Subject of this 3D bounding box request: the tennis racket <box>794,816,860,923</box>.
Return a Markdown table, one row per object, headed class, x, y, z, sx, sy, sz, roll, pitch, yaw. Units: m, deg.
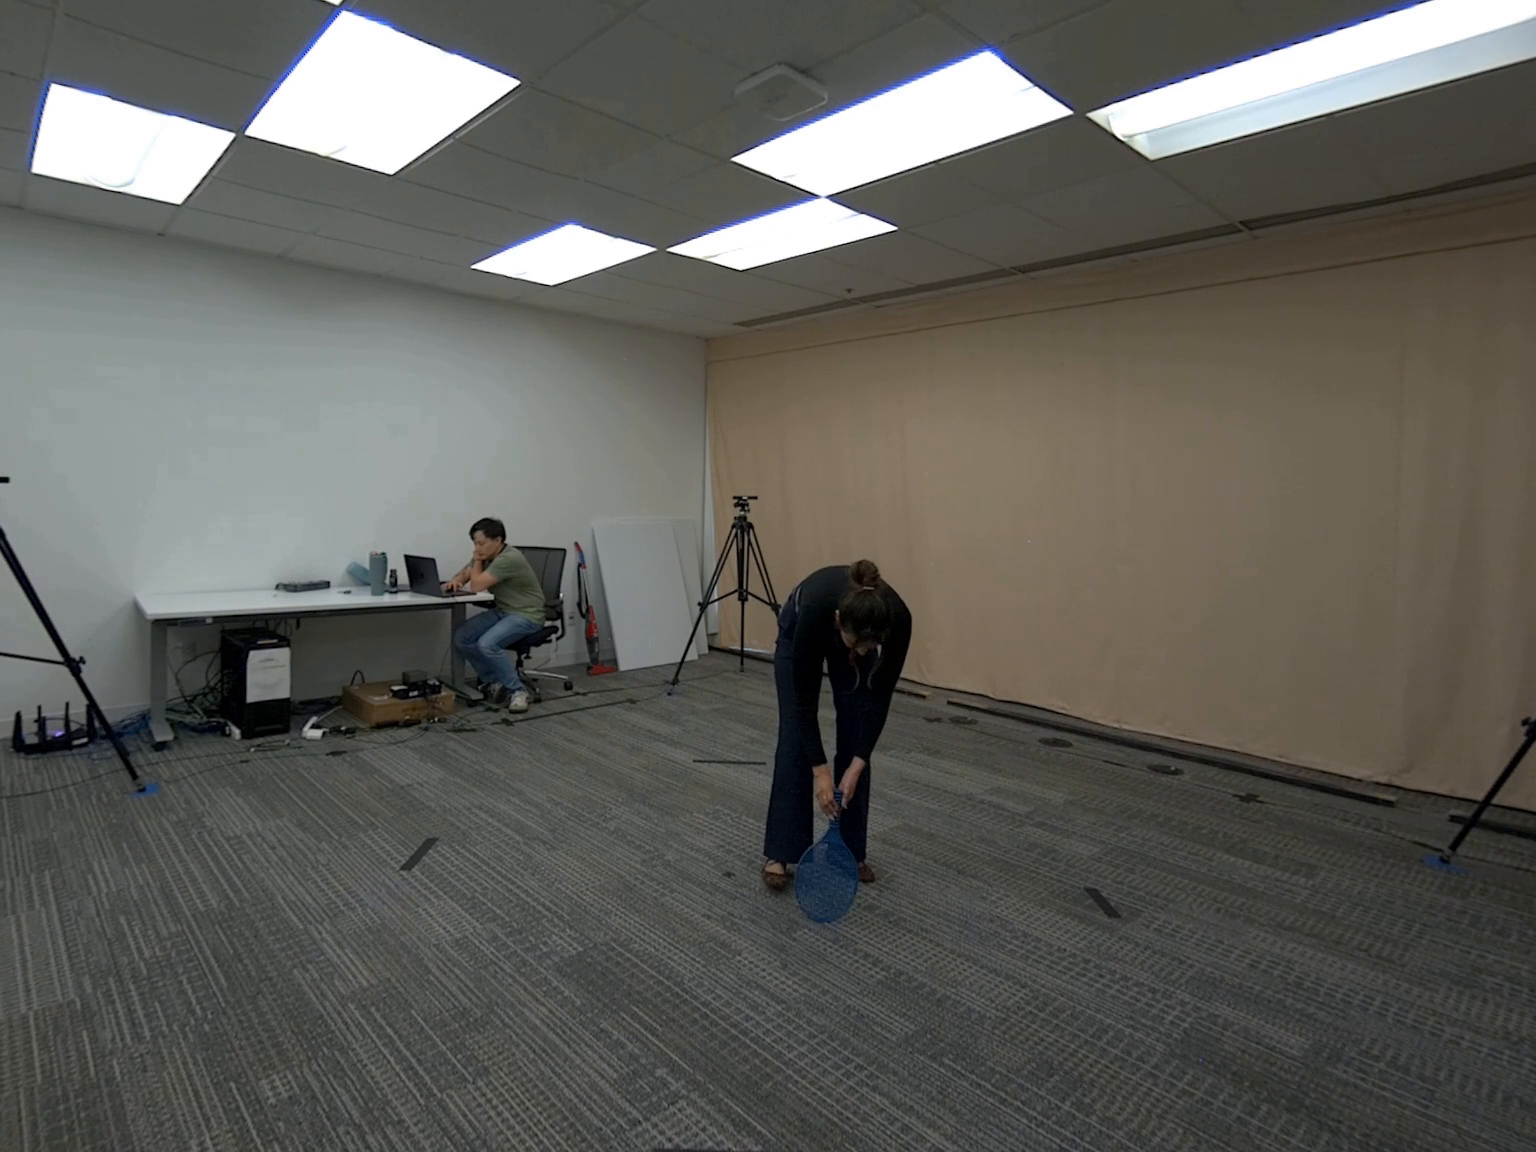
| class | x | y | z | sx | sy | sz | roll | pitch | yaw |
| --- | --- | --- | --- | --- | --- | --- | --- | --- | --- |
| tennis racket | 0.200 | 0.928 | 2.773 | 0.213 | 0.432 | 0.032 | 8 | 1 | -5 |
